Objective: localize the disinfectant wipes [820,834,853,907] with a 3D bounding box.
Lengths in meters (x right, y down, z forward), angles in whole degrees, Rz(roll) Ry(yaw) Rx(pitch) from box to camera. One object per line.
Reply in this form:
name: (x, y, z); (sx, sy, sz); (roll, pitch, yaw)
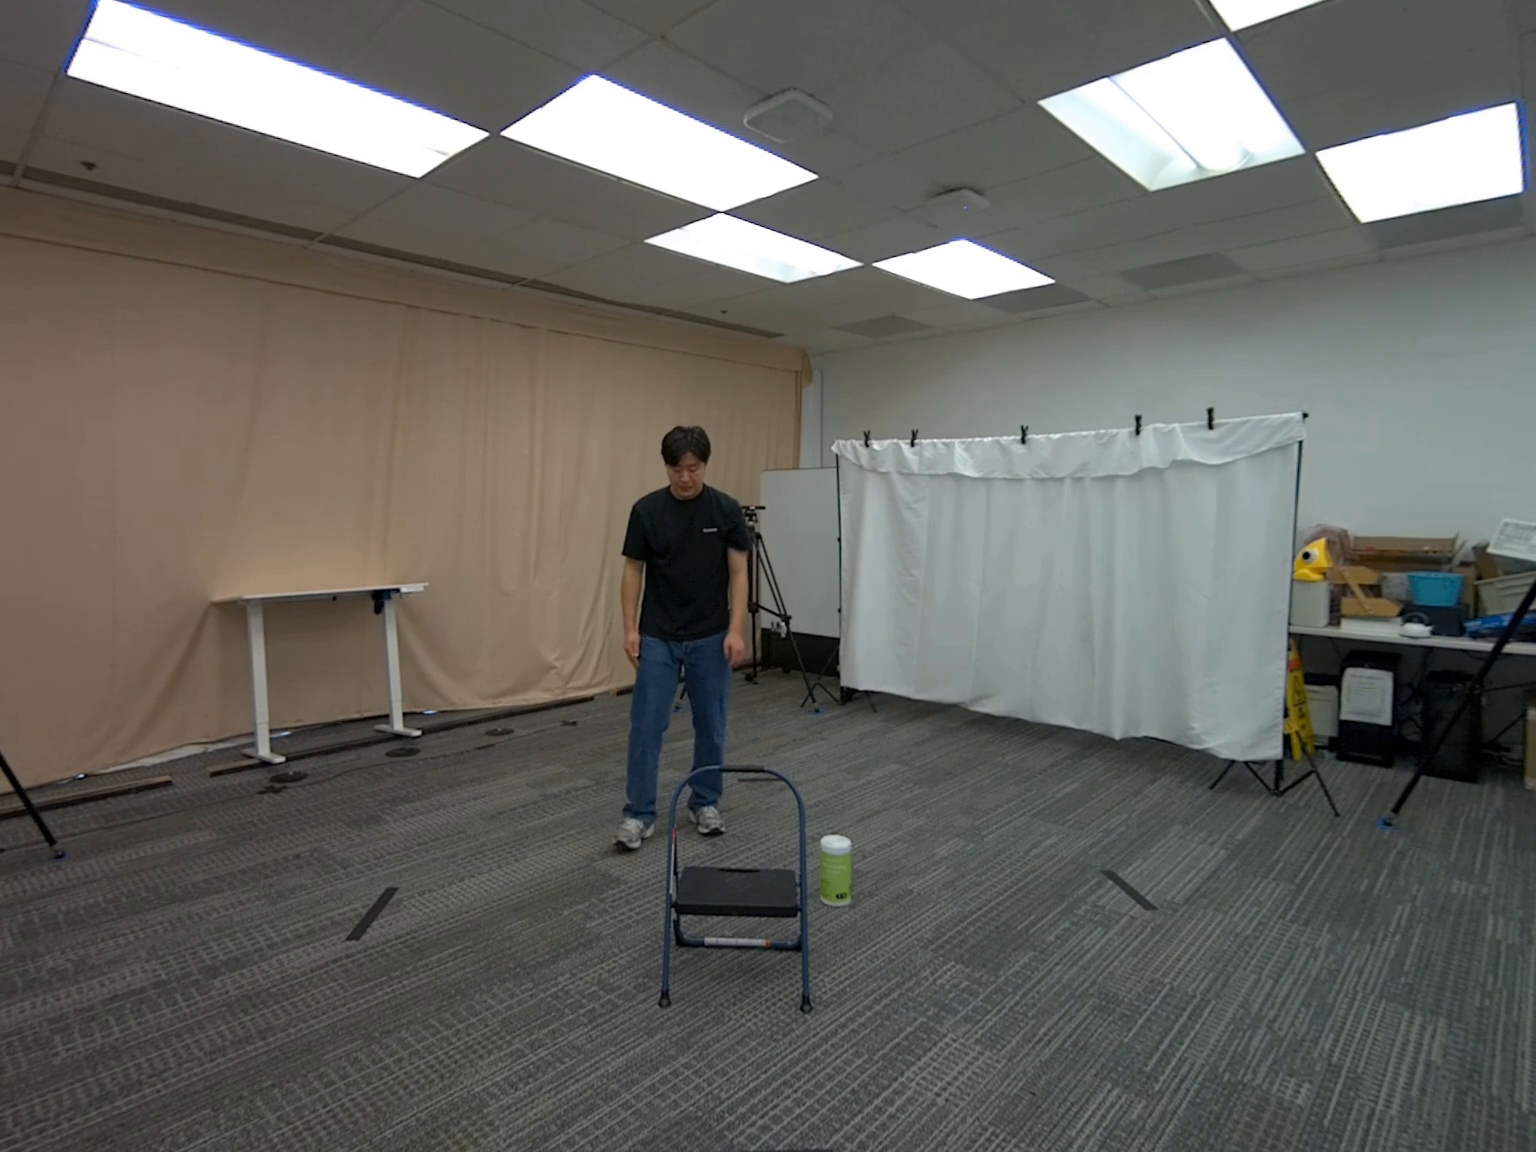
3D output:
disinfectant wipes: (0.240, 1.037, 2.964); (0.118, 0.217, 0.118); (-1, 4, -2)
